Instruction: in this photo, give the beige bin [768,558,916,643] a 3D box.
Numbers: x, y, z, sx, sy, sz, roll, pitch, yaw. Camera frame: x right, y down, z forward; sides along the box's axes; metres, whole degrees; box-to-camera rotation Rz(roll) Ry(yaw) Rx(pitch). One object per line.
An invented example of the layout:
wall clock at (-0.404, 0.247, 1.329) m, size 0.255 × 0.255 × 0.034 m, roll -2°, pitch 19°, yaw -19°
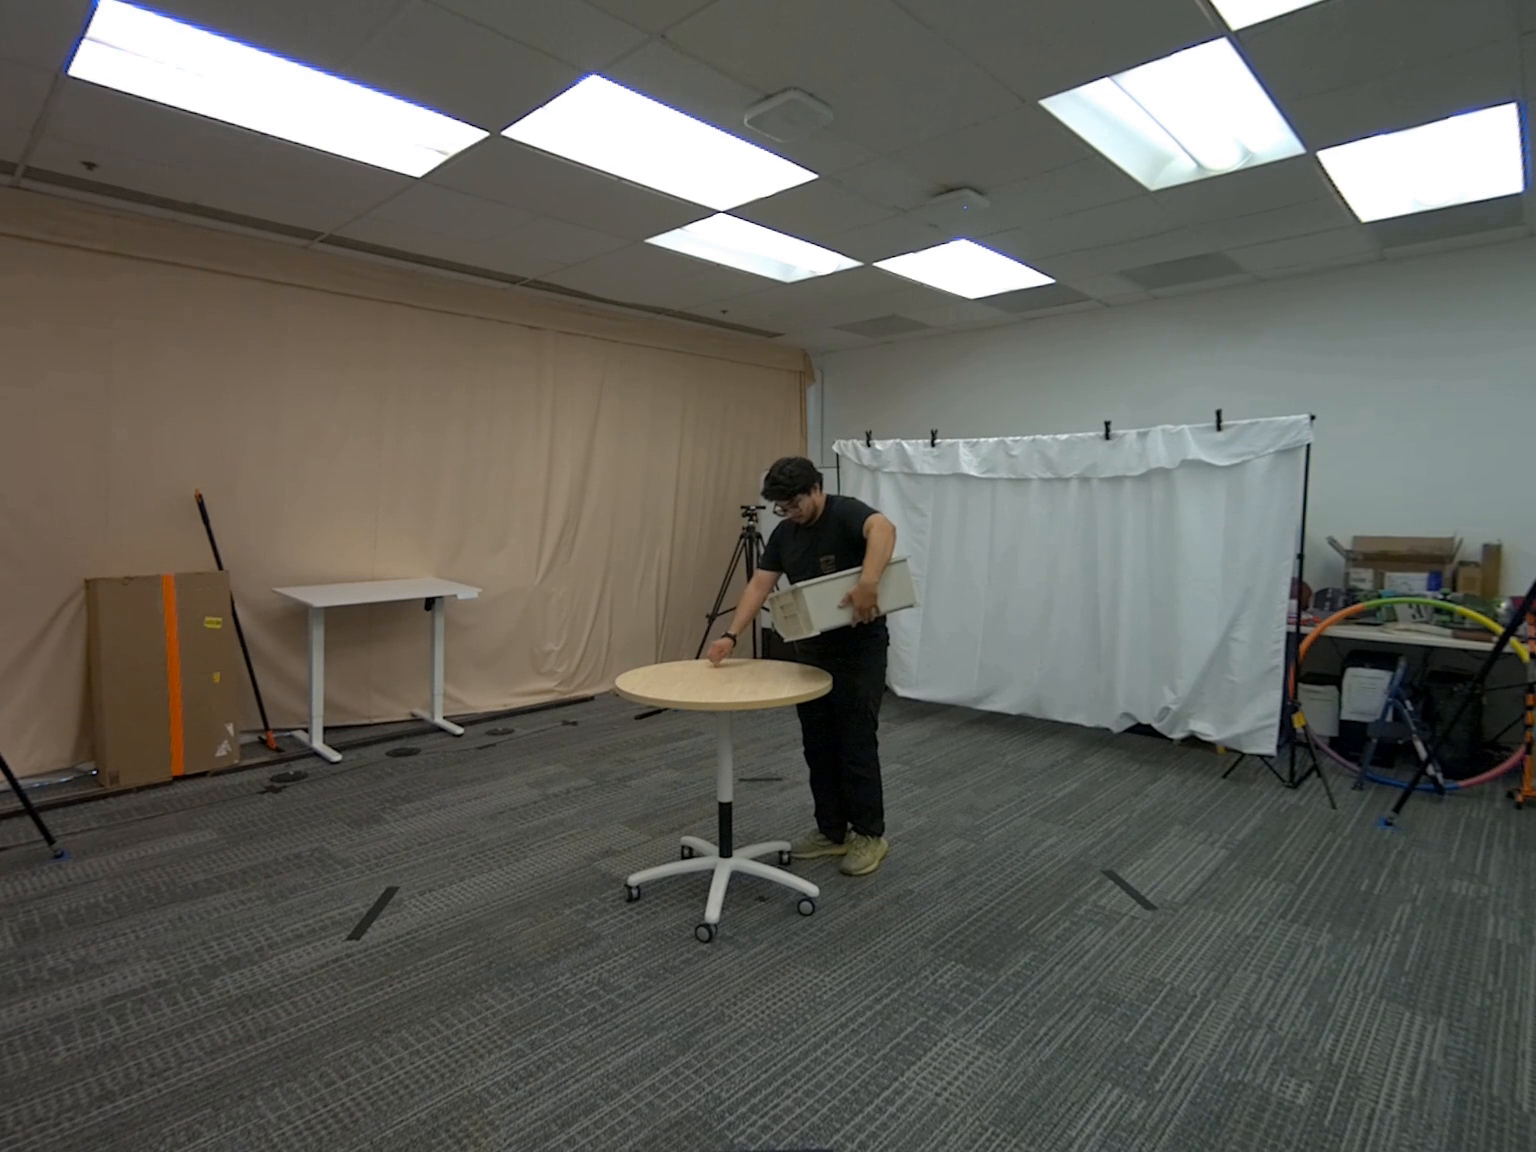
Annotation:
beige bin at (0.255, 0.082, 2.978) m, size 0.416 × 0.189 × 0.382 m, roll -14°, pitch -2°, yaw -17°
